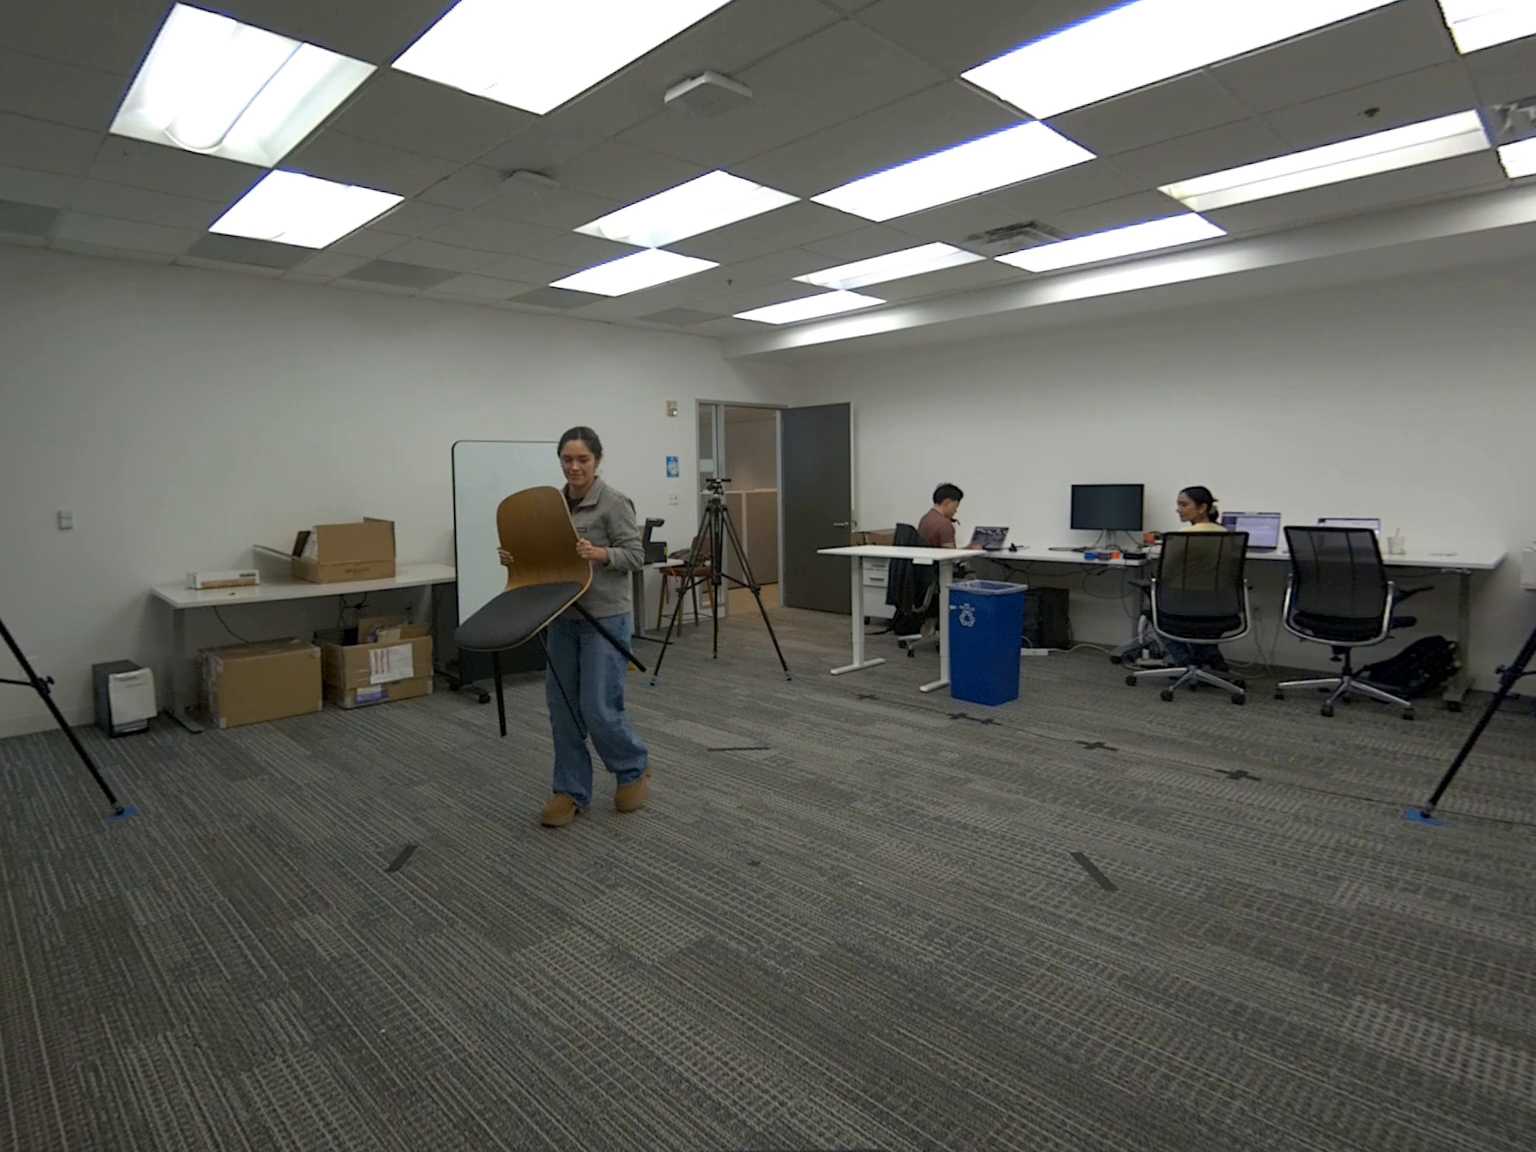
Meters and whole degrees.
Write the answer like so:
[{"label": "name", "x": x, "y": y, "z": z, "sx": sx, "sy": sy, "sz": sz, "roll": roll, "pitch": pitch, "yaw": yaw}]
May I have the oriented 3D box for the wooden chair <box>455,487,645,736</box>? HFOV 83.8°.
[{"label": "wooden chair", "x": -0.905, "y": 0.155, "z": 3.311, "sx": 0.489, "sy": 0.861, "sz": 0.521, "roll": -5, "pitch": 21, "yaw": 31}]
